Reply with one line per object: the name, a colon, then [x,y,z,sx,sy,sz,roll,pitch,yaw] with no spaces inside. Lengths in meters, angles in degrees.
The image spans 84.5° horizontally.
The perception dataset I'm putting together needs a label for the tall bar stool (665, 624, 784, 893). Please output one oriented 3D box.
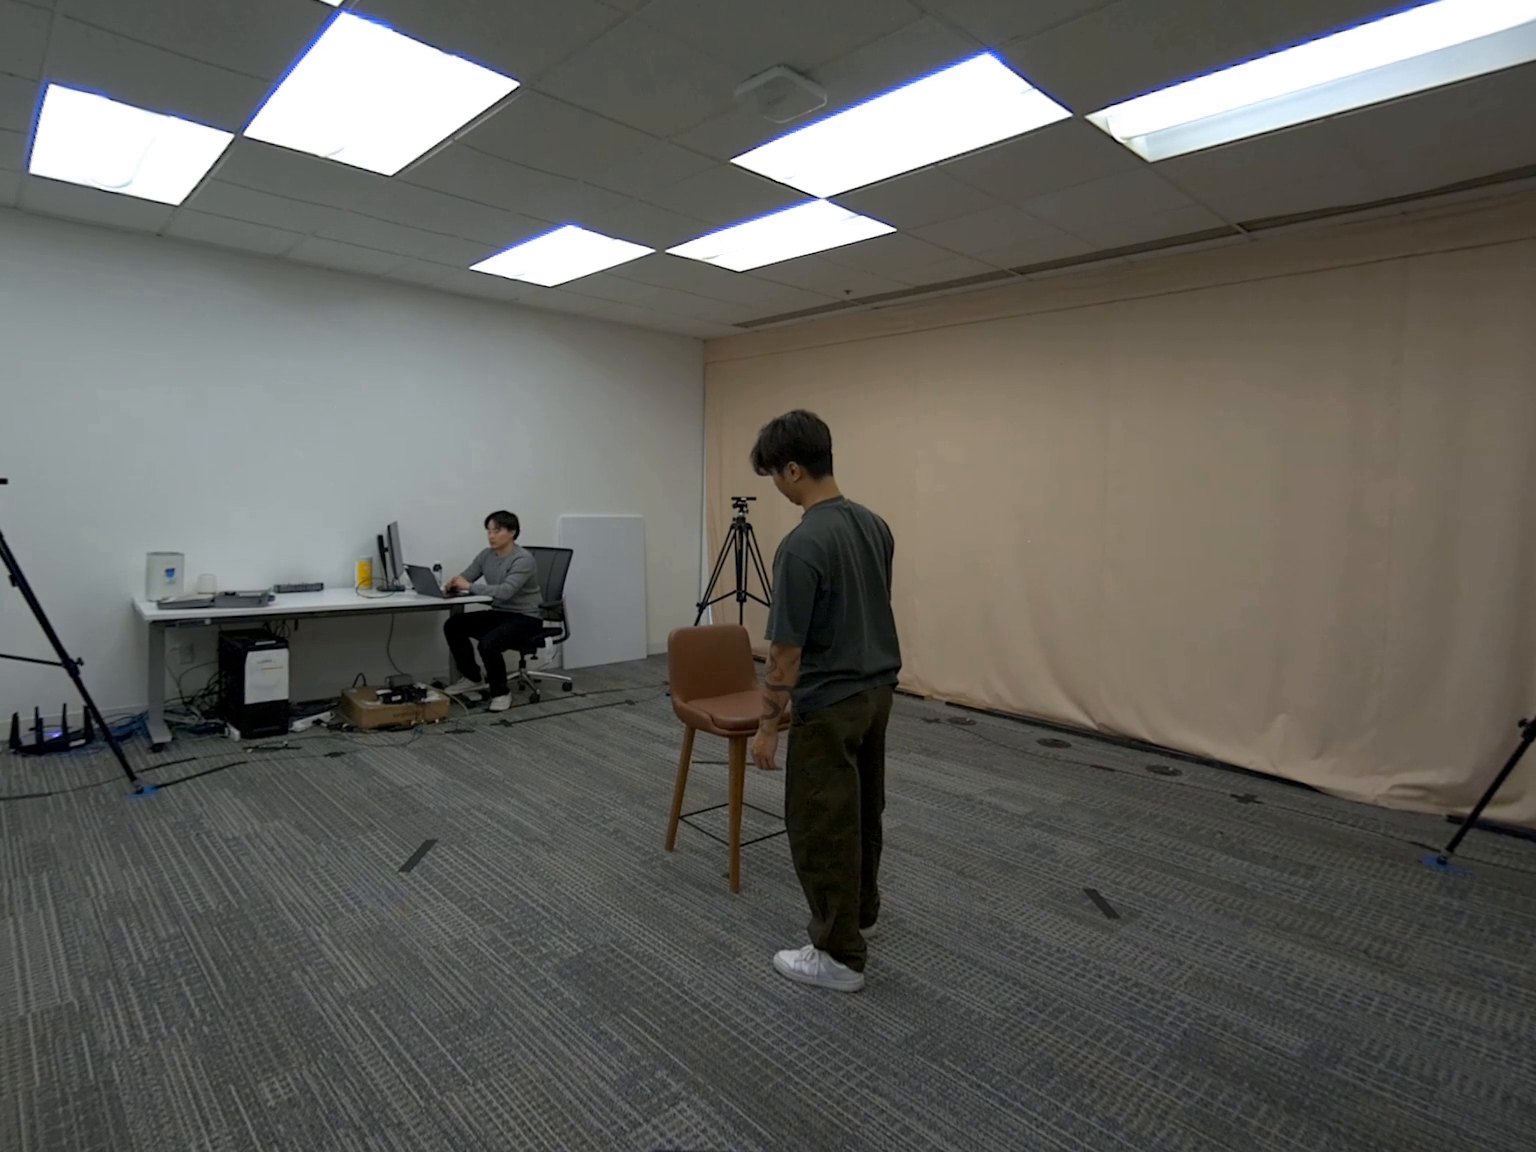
tall bar stool: [-0.120,0.655,3.239,0.446,0.889,0.479,-2,2,-41]
